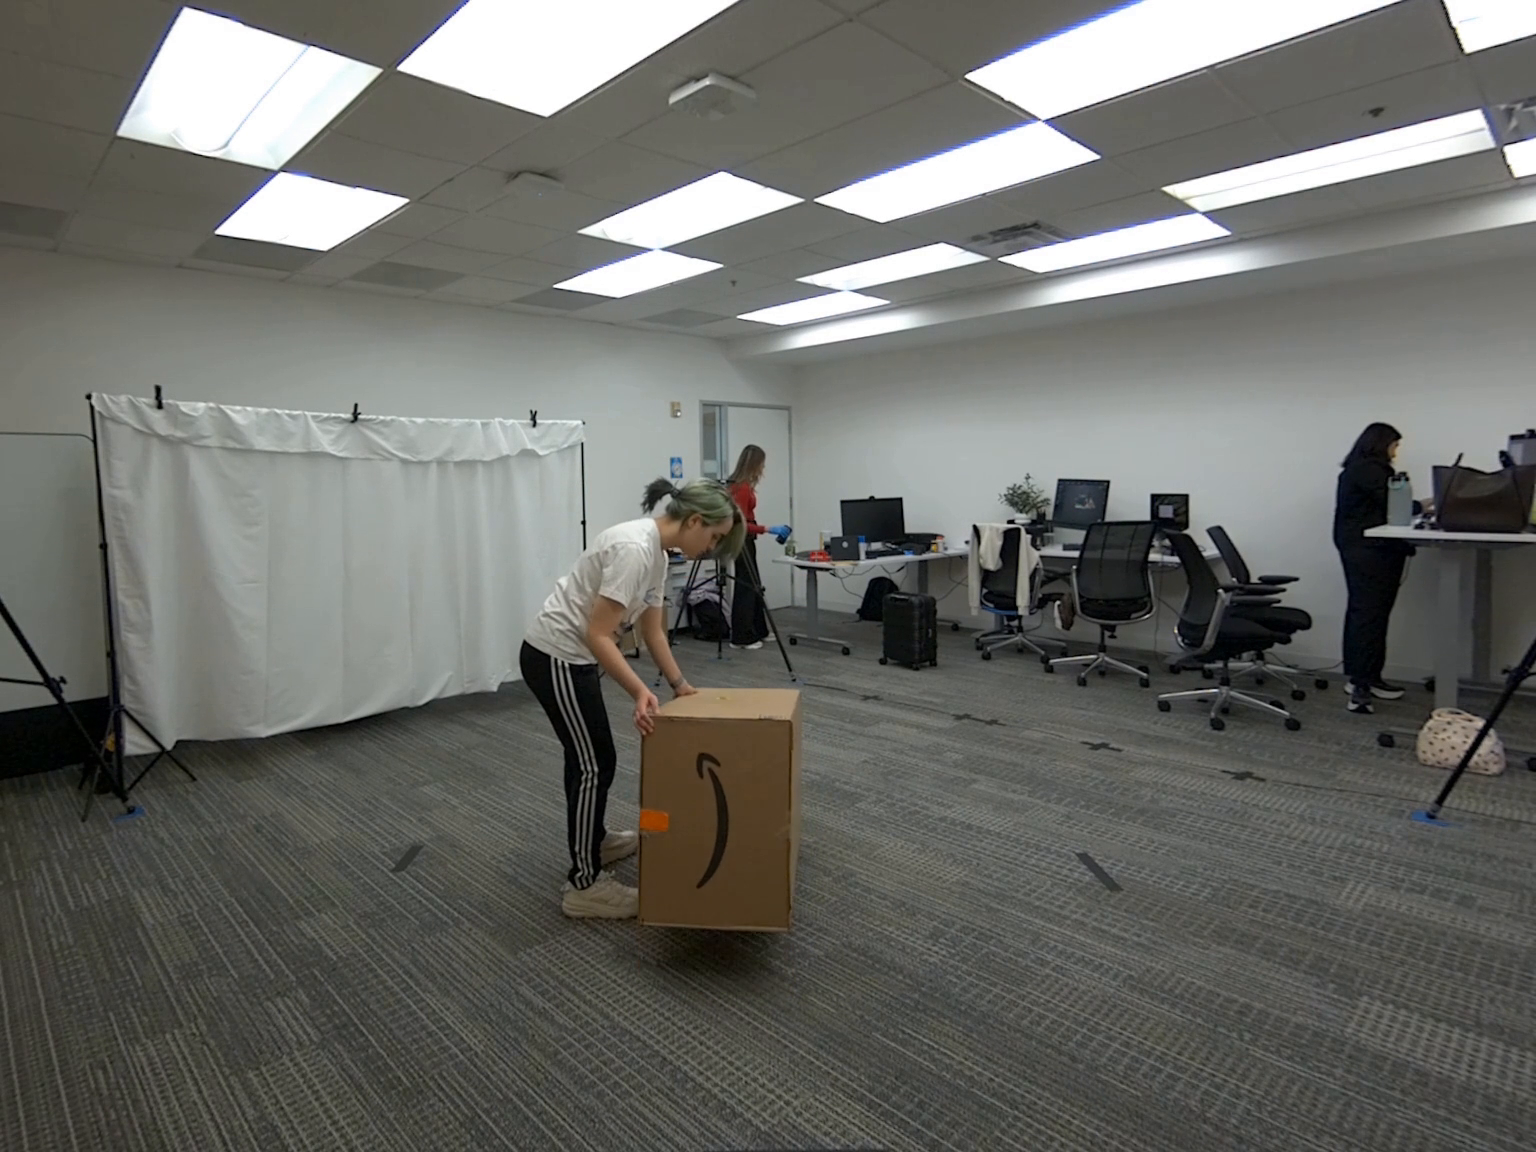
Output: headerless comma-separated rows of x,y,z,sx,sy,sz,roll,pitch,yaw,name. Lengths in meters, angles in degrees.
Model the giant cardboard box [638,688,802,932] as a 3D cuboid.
-0.111,0.714,2.881,0.428,0.580,1.016,0,-4,4,giant cardboard box
